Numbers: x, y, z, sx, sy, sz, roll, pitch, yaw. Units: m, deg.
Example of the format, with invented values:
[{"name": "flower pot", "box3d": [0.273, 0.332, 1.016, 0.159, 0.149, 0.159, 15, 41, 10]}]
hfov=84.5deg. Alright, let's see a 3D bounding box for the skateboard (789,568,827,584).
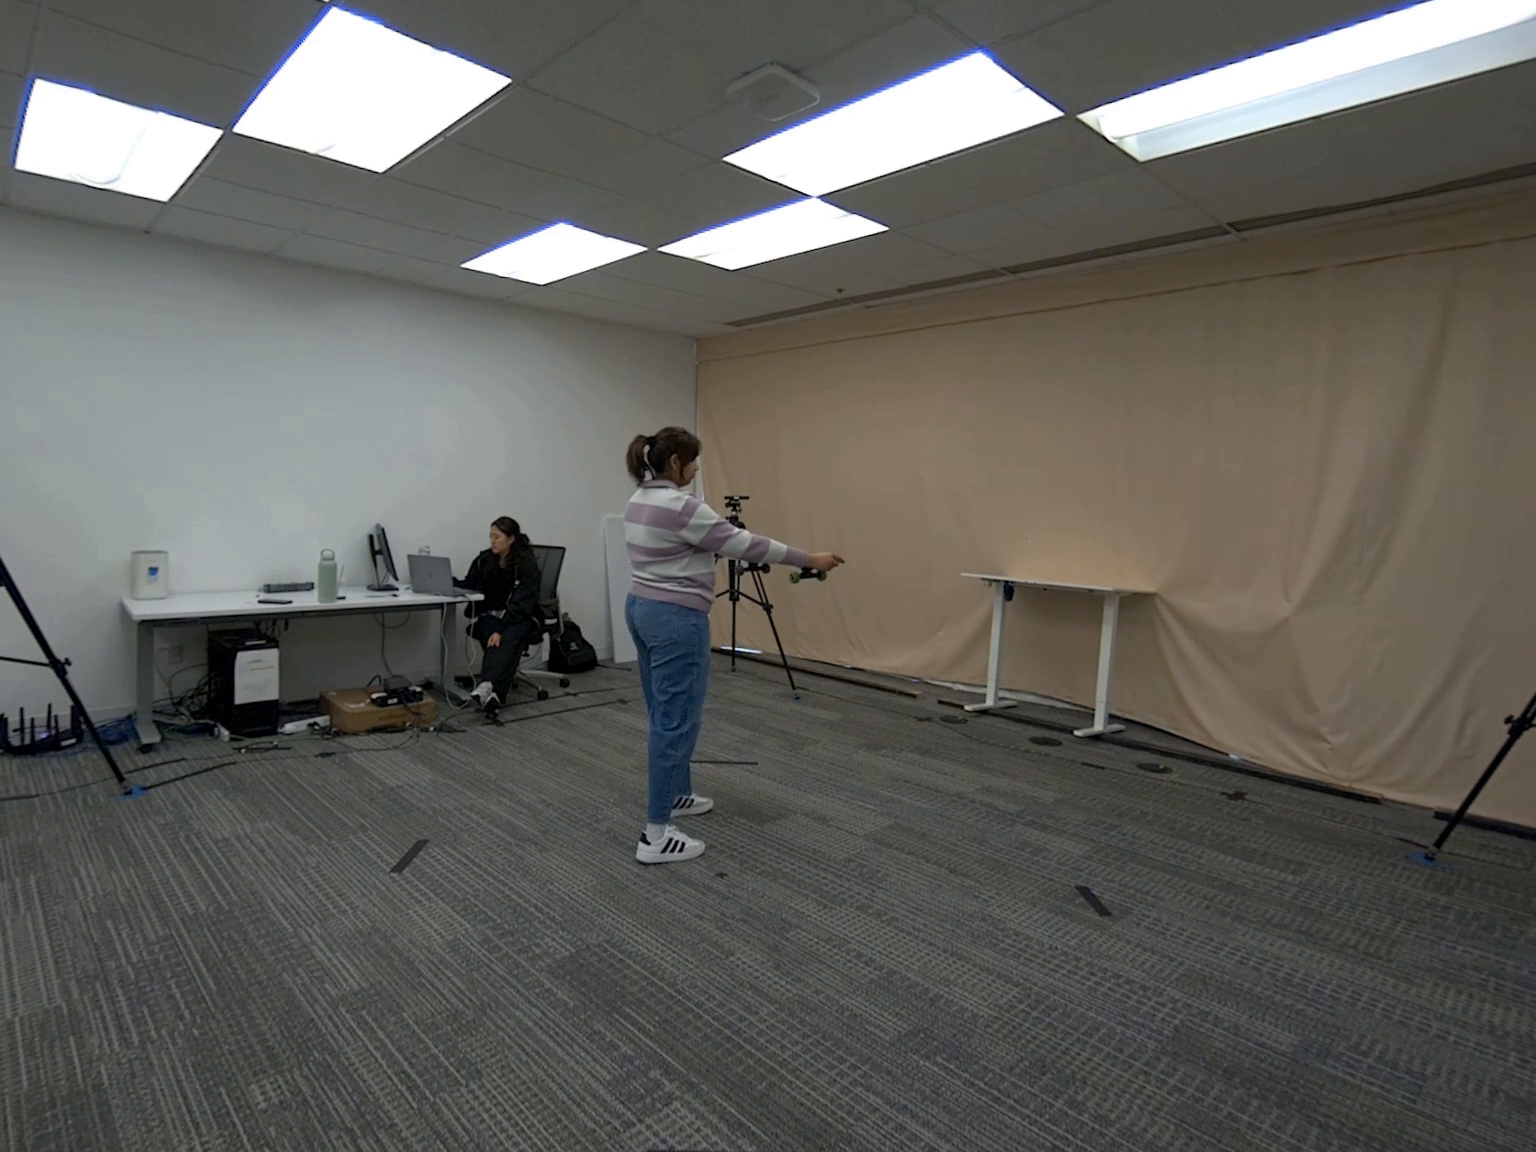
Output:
[{"name": "skateboard", "box3d": [0.054, -0.038, 3.749, 0.189, 0.110, 0.805, -4, 7, -38]}]
